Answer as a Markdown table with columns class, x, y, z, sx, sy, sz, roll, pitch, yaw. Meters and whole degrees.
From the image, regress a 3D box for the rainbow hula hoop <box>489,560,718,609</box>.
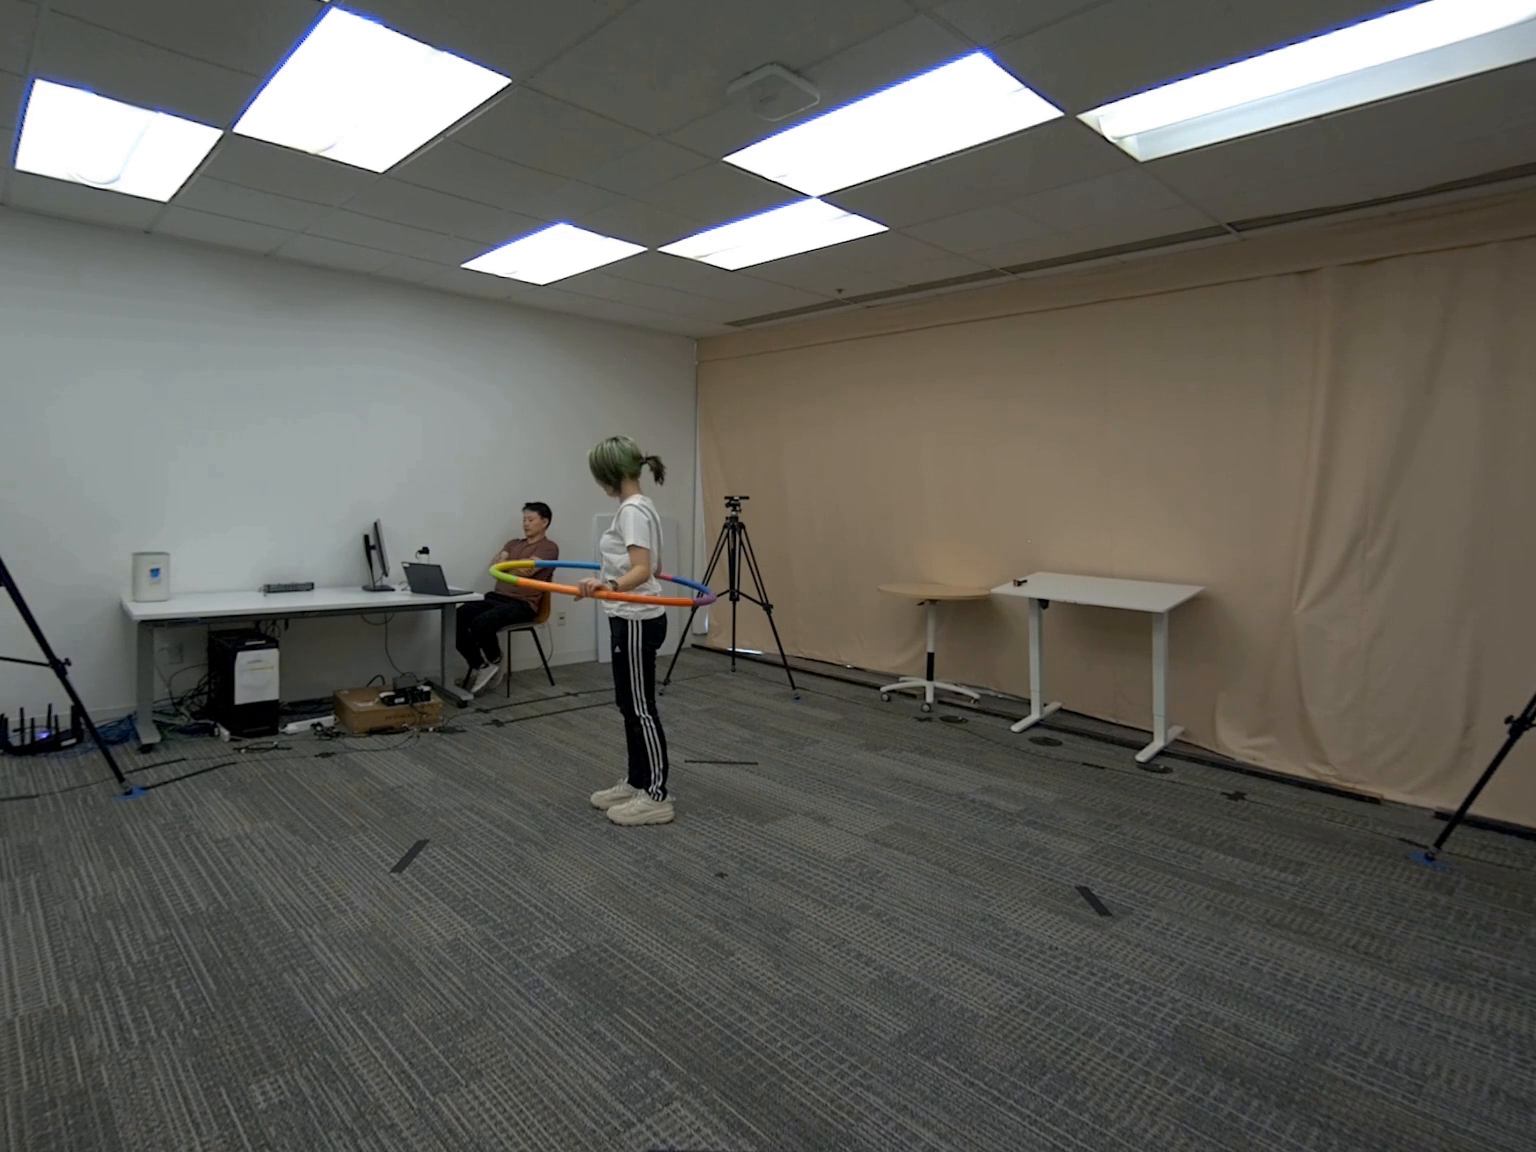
| class | x | y | z | sx | sy | sz | roll | pitch | yaw |
| --- | --- | --- | --- | --- | --- | --- | --- | --- | --- |
| rainbow hula hoop | -0.703 | 0.014 | 3.680 | 0.984 | 0.051 | 0.990 | 7 | 6 | -2 |
